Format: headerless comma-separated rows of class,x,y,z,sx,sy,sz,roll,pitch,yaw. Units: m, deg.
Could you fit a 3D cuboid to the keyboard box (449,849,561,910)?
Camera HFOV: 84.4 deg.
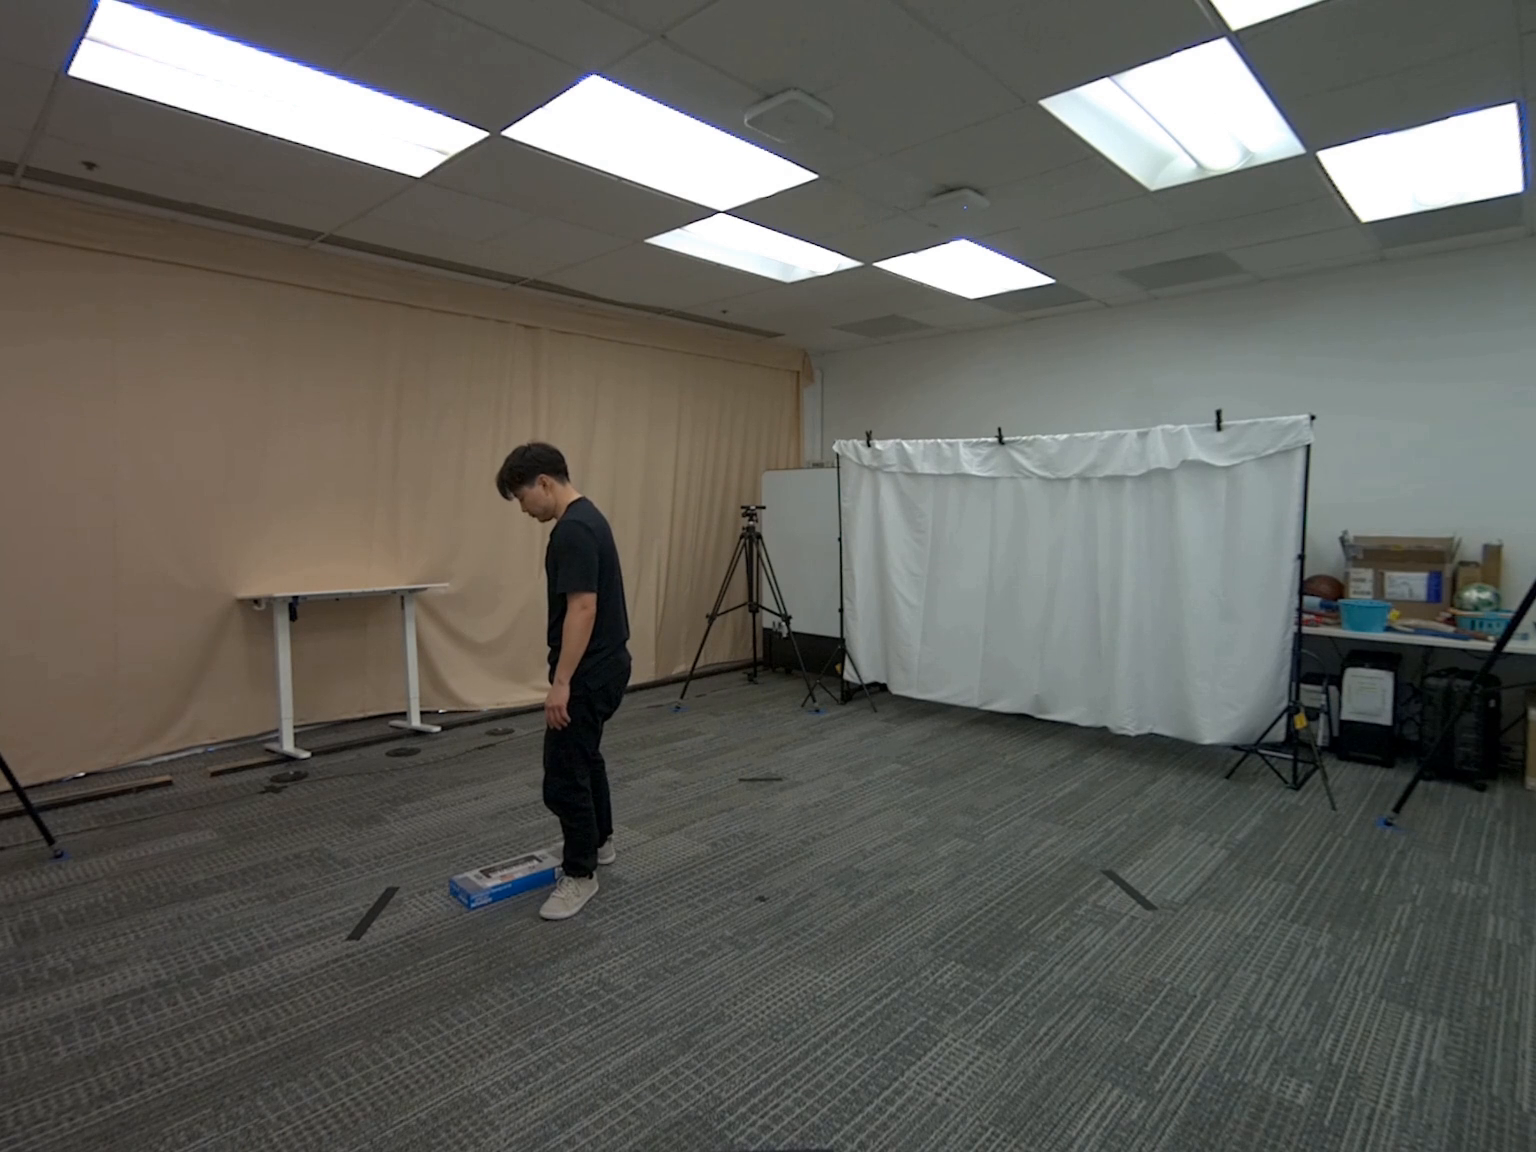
keyboard box,-0.943,1.118,3.113,0.423,0.059,0.182,-5,6,-42
